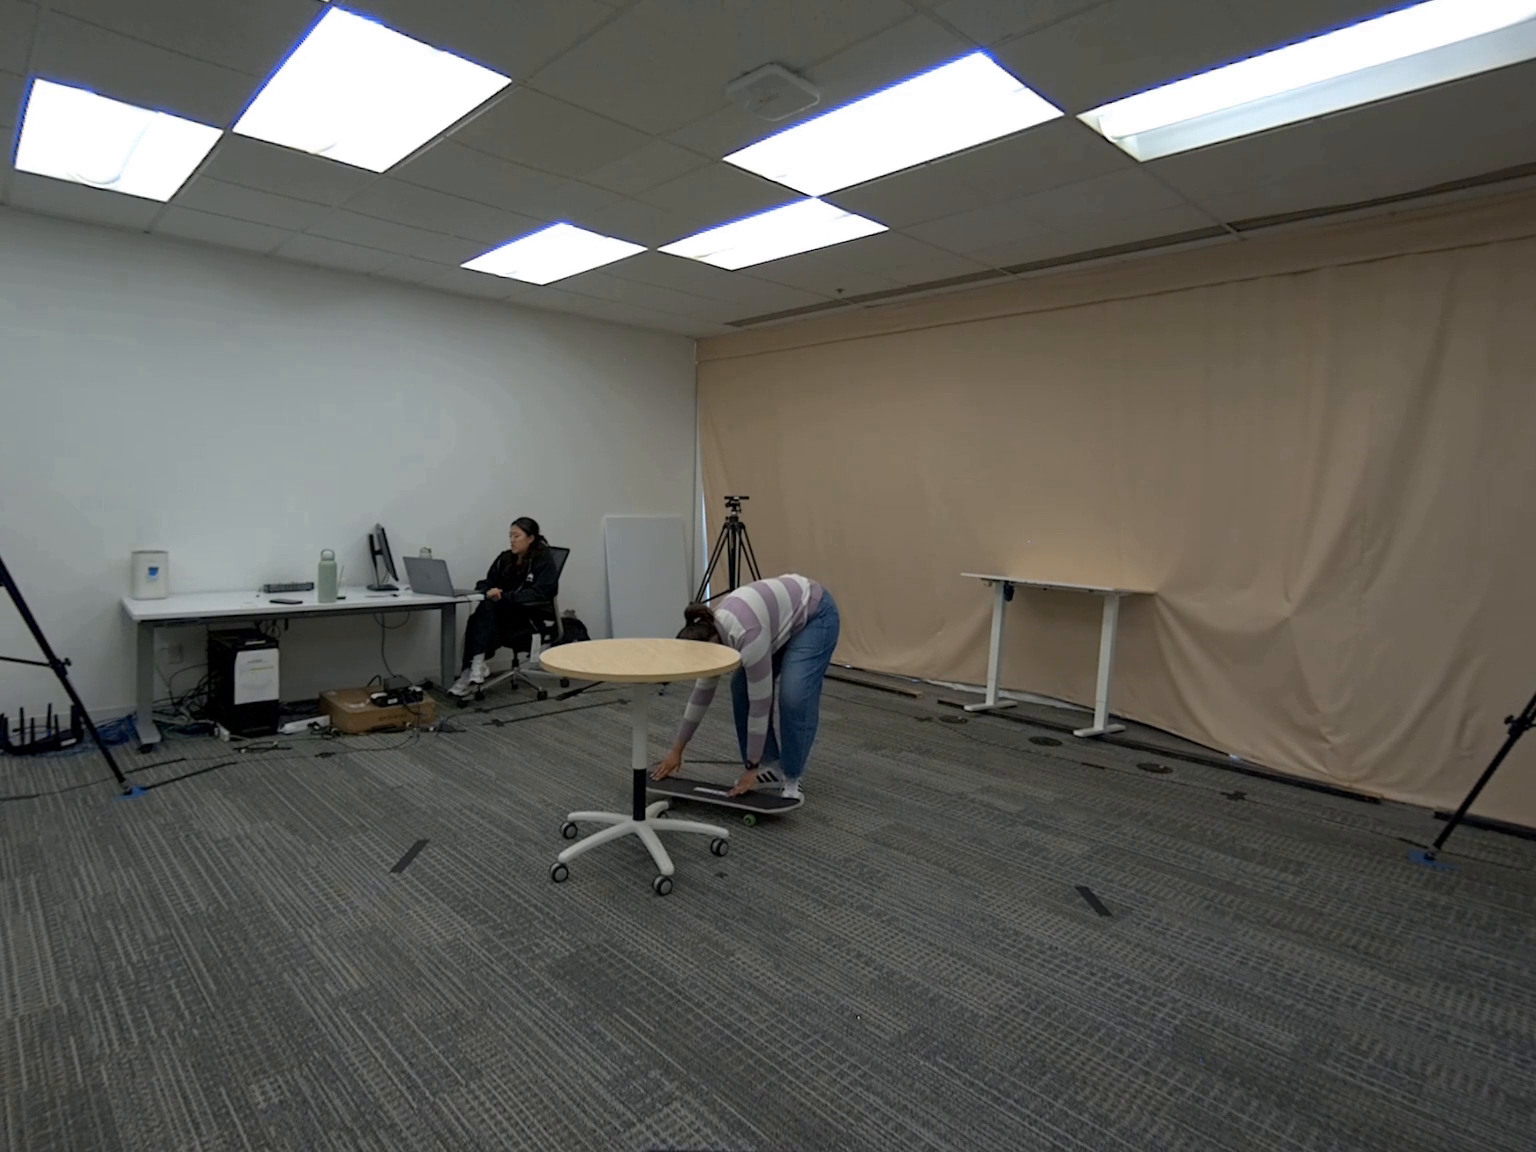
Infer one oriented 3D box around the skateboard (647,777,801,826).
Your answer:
[{"bbox_3d":[-0.239,0.986,3.728,0.800,0.110,0.190,4,6,25],"label":"skateboard"}]
